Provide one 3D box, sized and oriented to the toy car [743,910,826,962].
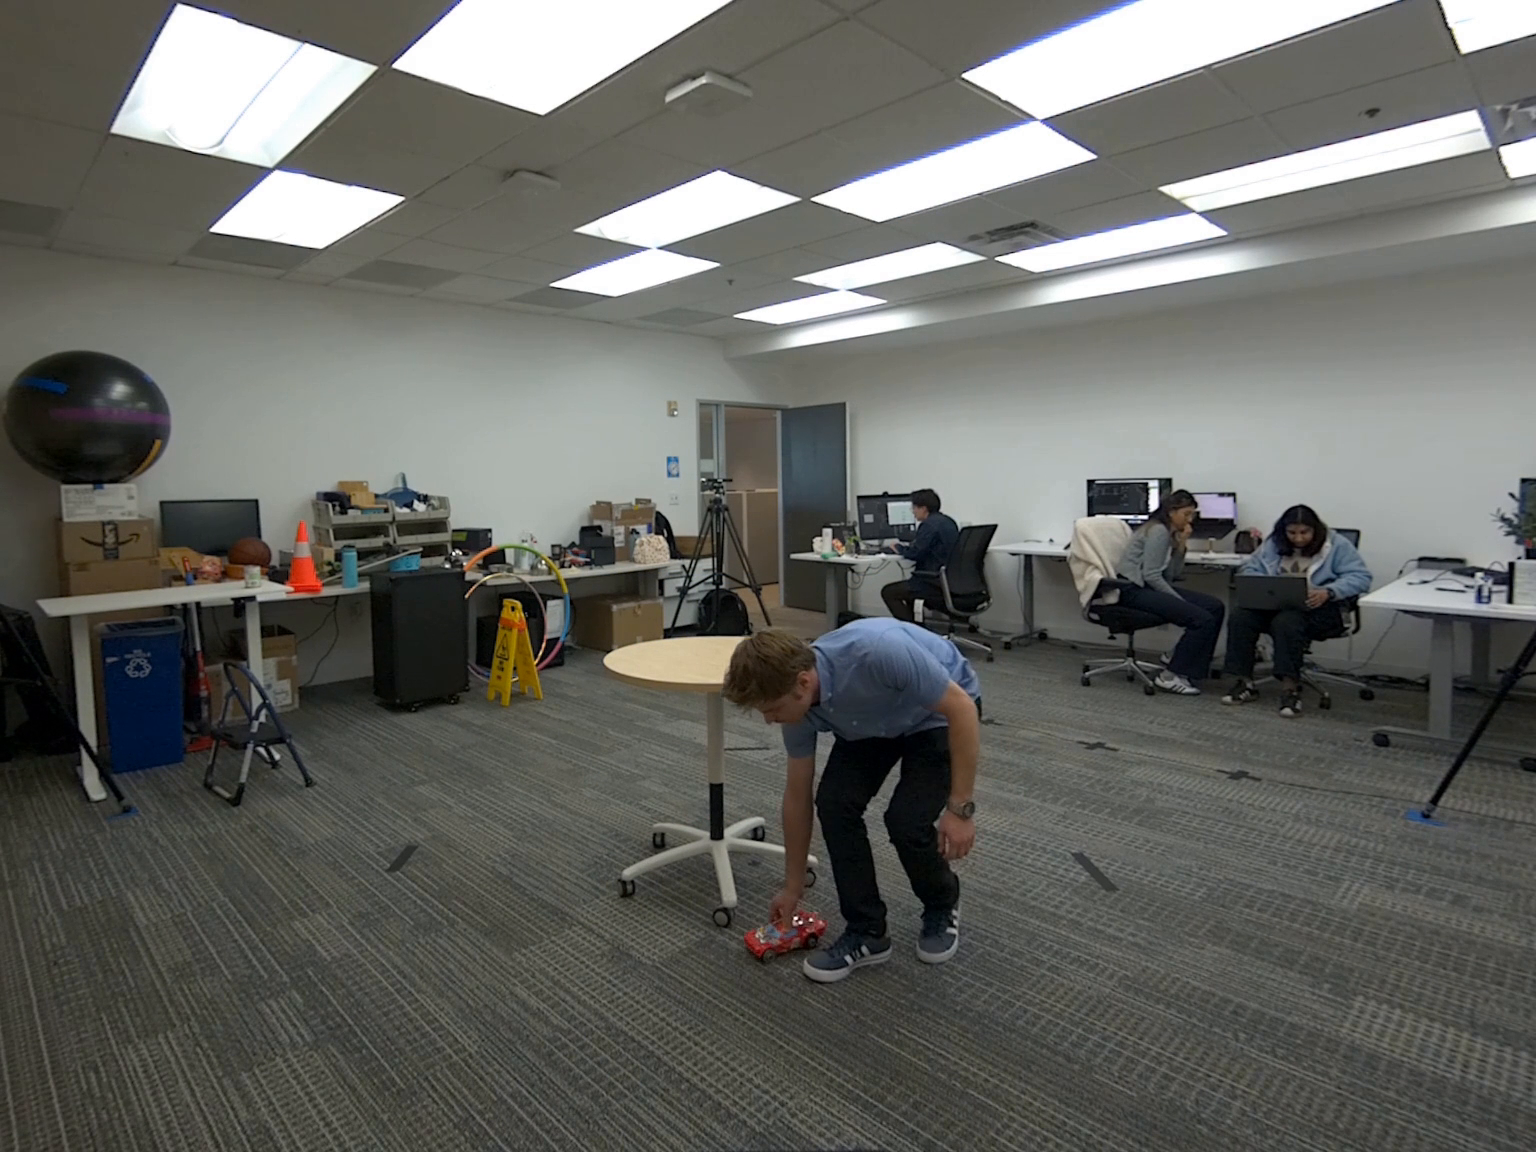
[{"bbox_3d":[0.063,1.079,2.554,0.250,0.082,0.134,-15,13,-25],"label":"toy car"}]
